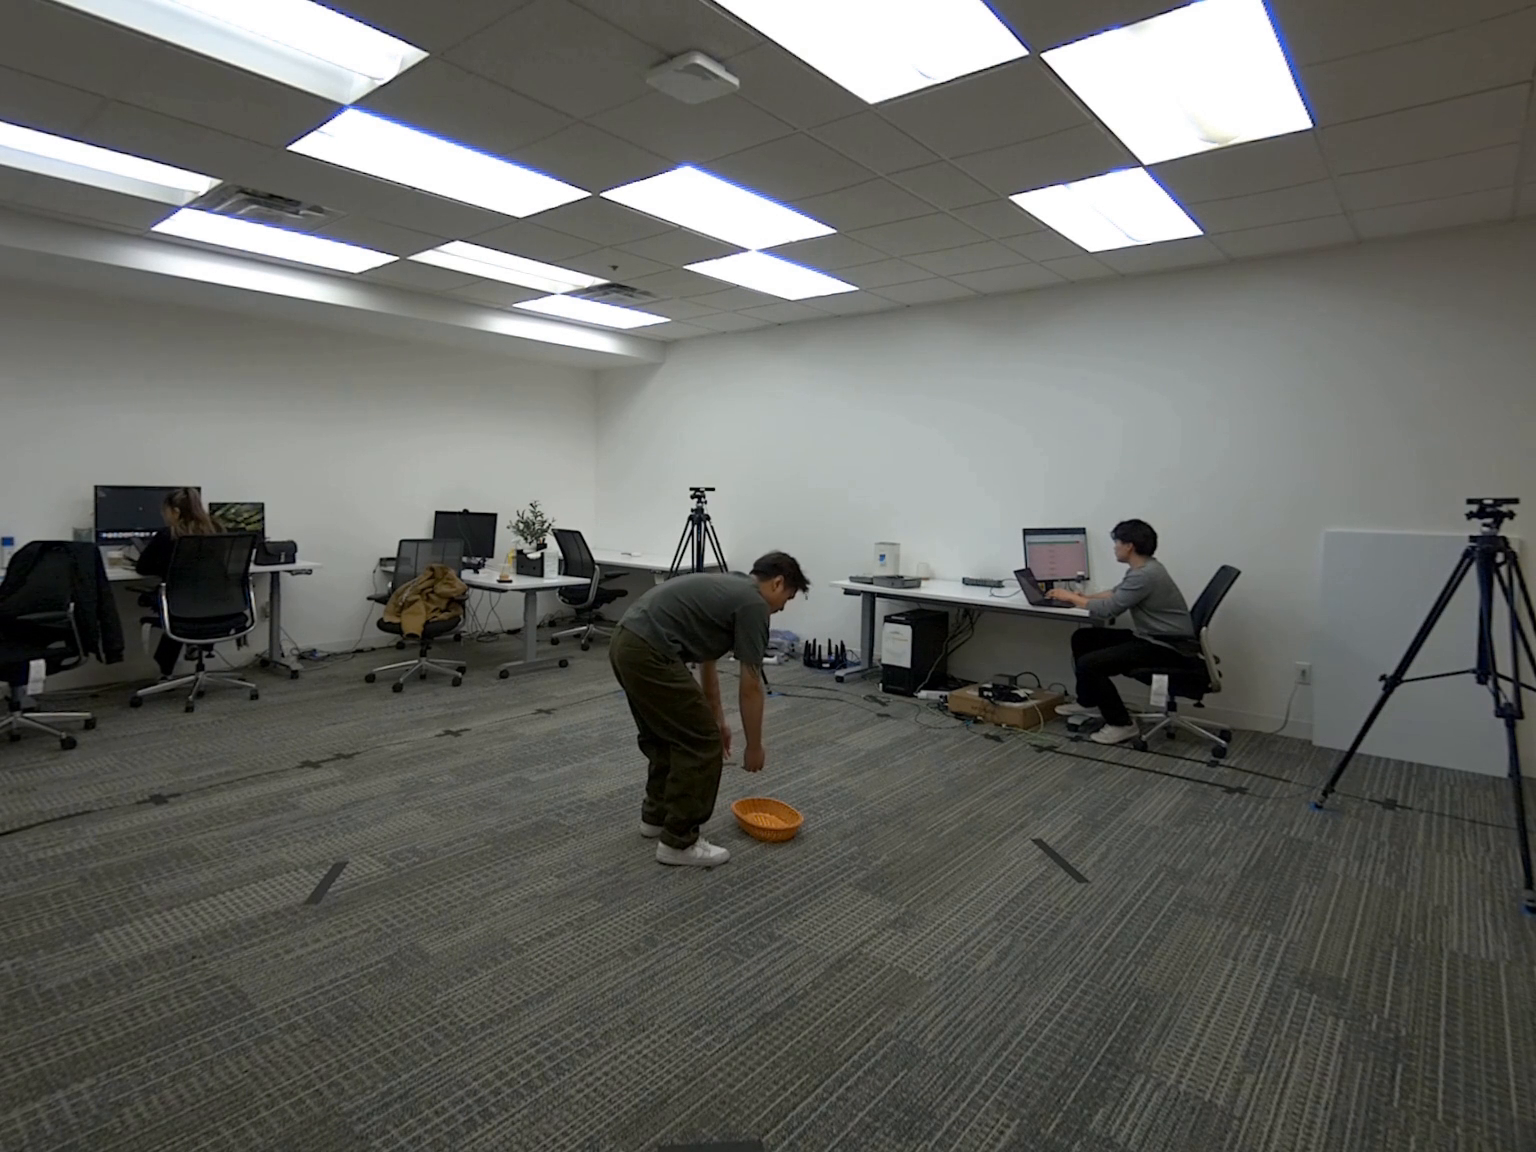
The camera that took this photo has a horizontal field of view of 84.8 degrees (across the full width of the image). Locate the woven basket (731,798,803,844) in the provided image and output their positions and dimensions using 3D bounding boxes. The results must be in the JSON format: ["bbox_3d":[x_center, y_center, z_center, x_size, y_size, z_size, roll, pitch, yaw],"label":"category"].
[{"bbox_3d":[-0.019,0.994,3.487,0.246,0.073,0.361,-2,6,-28],"label":"woven basket"}]
